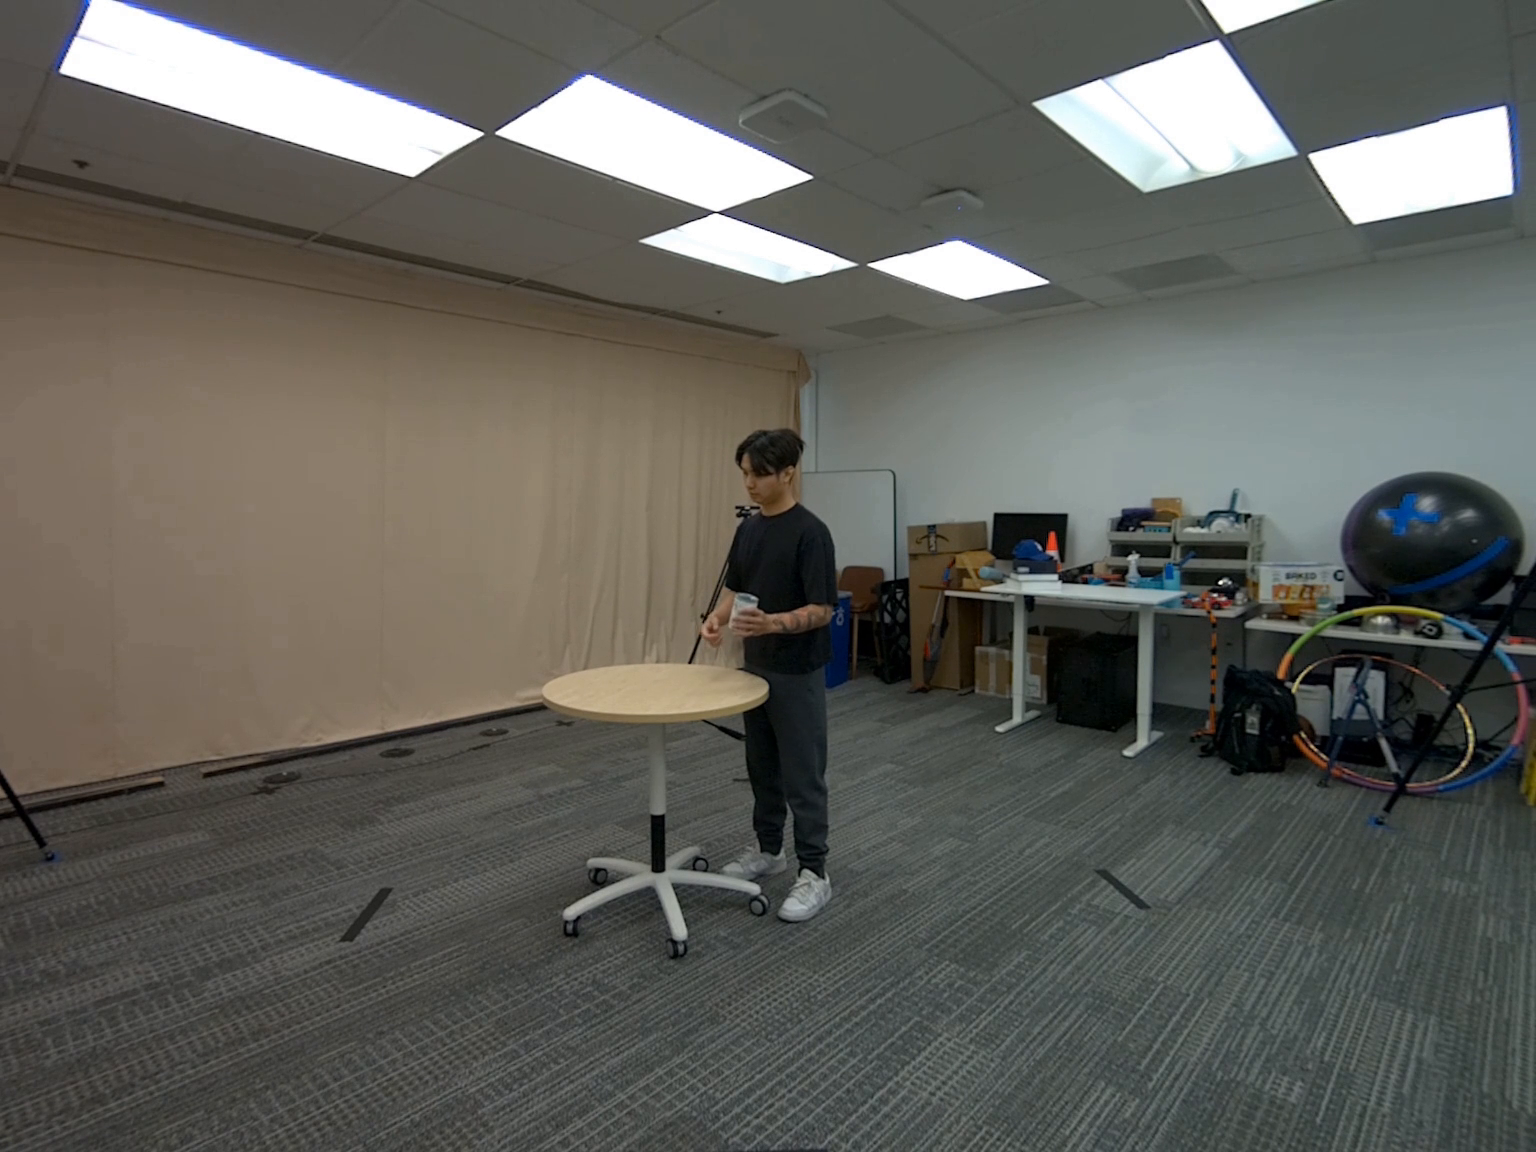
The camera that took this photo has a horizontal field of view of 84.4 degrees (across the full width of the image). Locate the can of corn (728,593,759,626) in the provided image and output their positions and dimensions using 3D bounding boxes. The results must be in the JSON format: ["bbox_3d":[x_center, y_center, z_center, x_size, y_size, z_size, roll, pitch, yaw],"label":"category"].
[{"bbox_3d":[-0.079,0.119,2.649,0.074,0.110,0.075,10,15,-5],"label":"can of corn"}]
